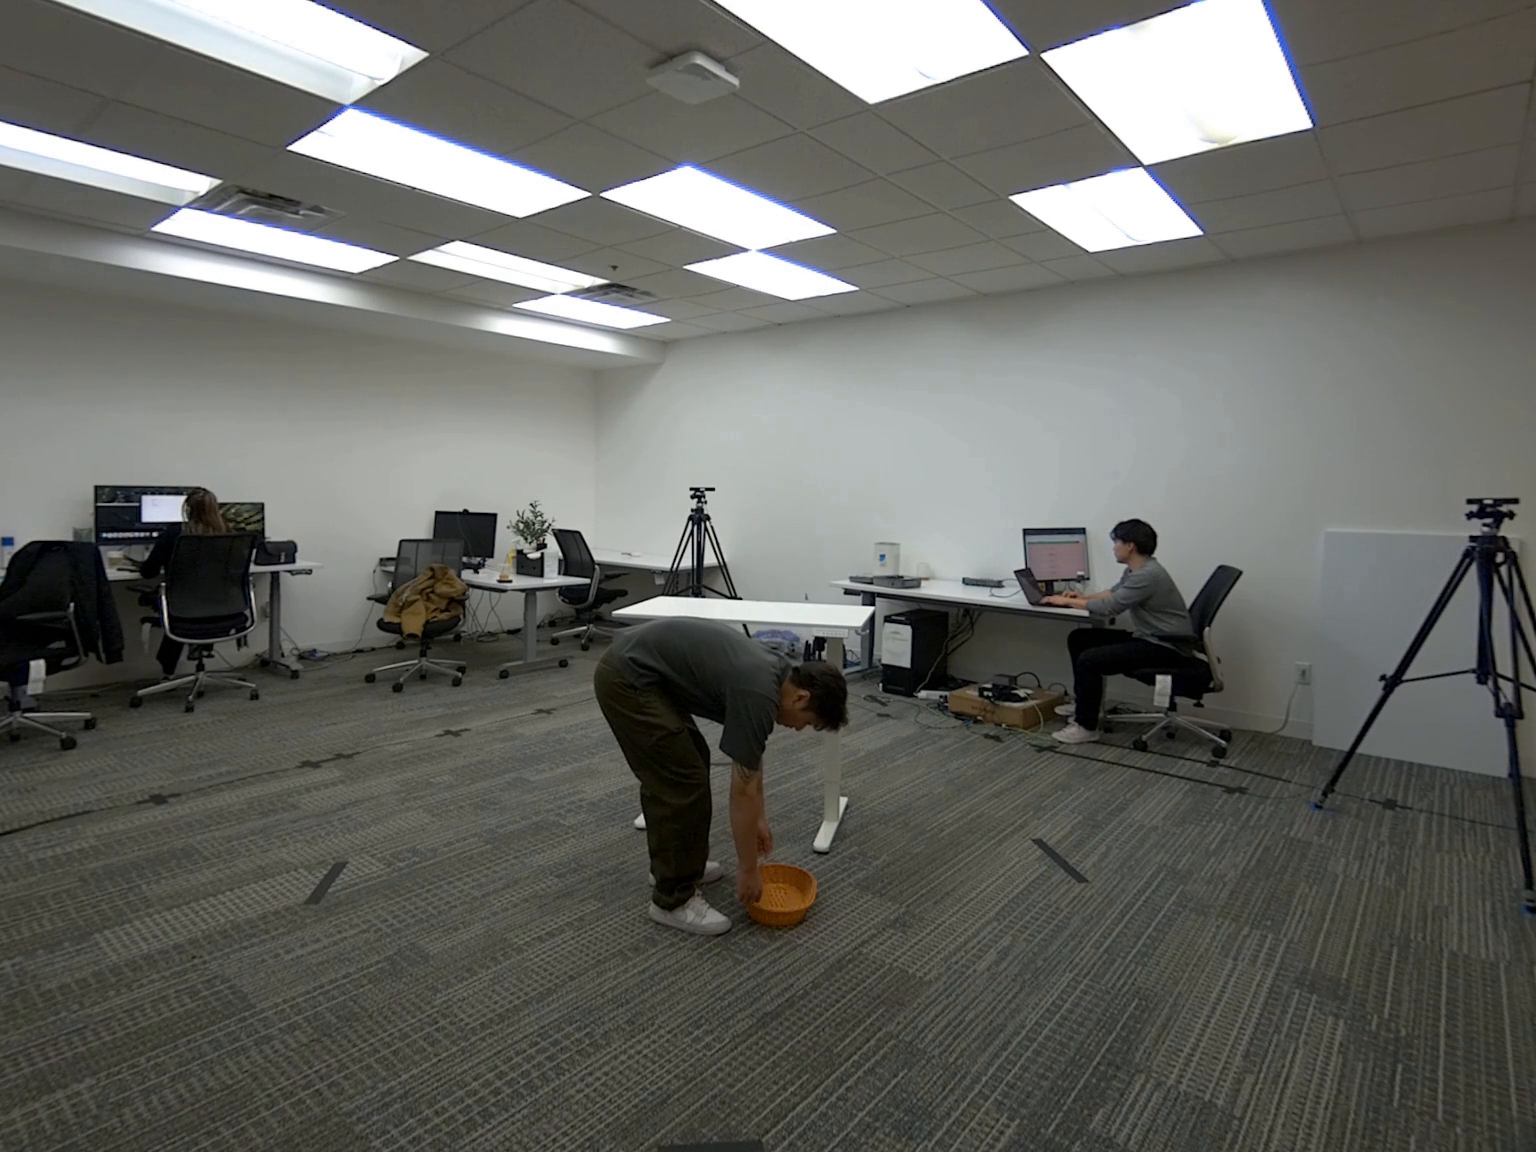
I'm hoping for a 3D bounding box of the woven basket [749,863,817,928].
[{"bbox_3d":[0.023,1.062,2.836,0.256,0.073,0.346,3,6,14],"label":"woven basket"}]
